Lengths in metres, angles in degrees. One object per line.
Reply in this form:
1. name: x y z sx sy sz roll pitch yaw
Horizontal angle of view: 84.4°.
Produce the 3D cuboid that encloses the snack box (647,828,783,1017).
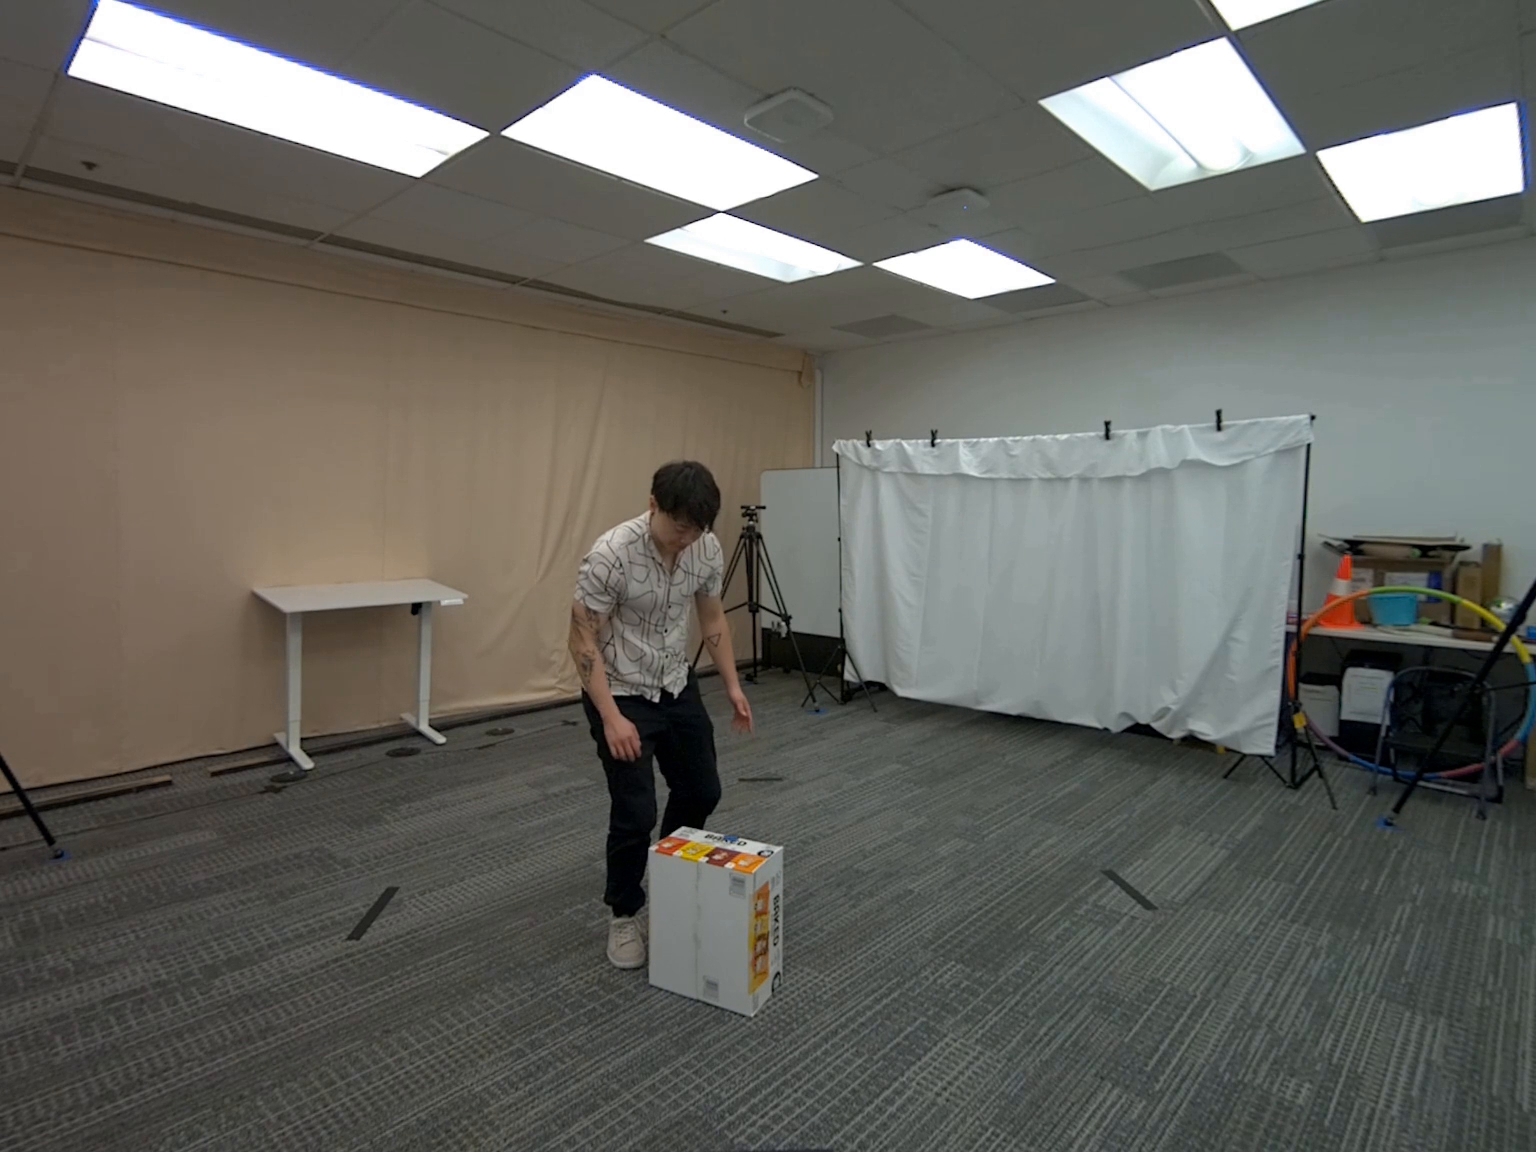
1. snack box: -0.149 0.987 2.437 0.349 0.404 0.200 1 3 27
